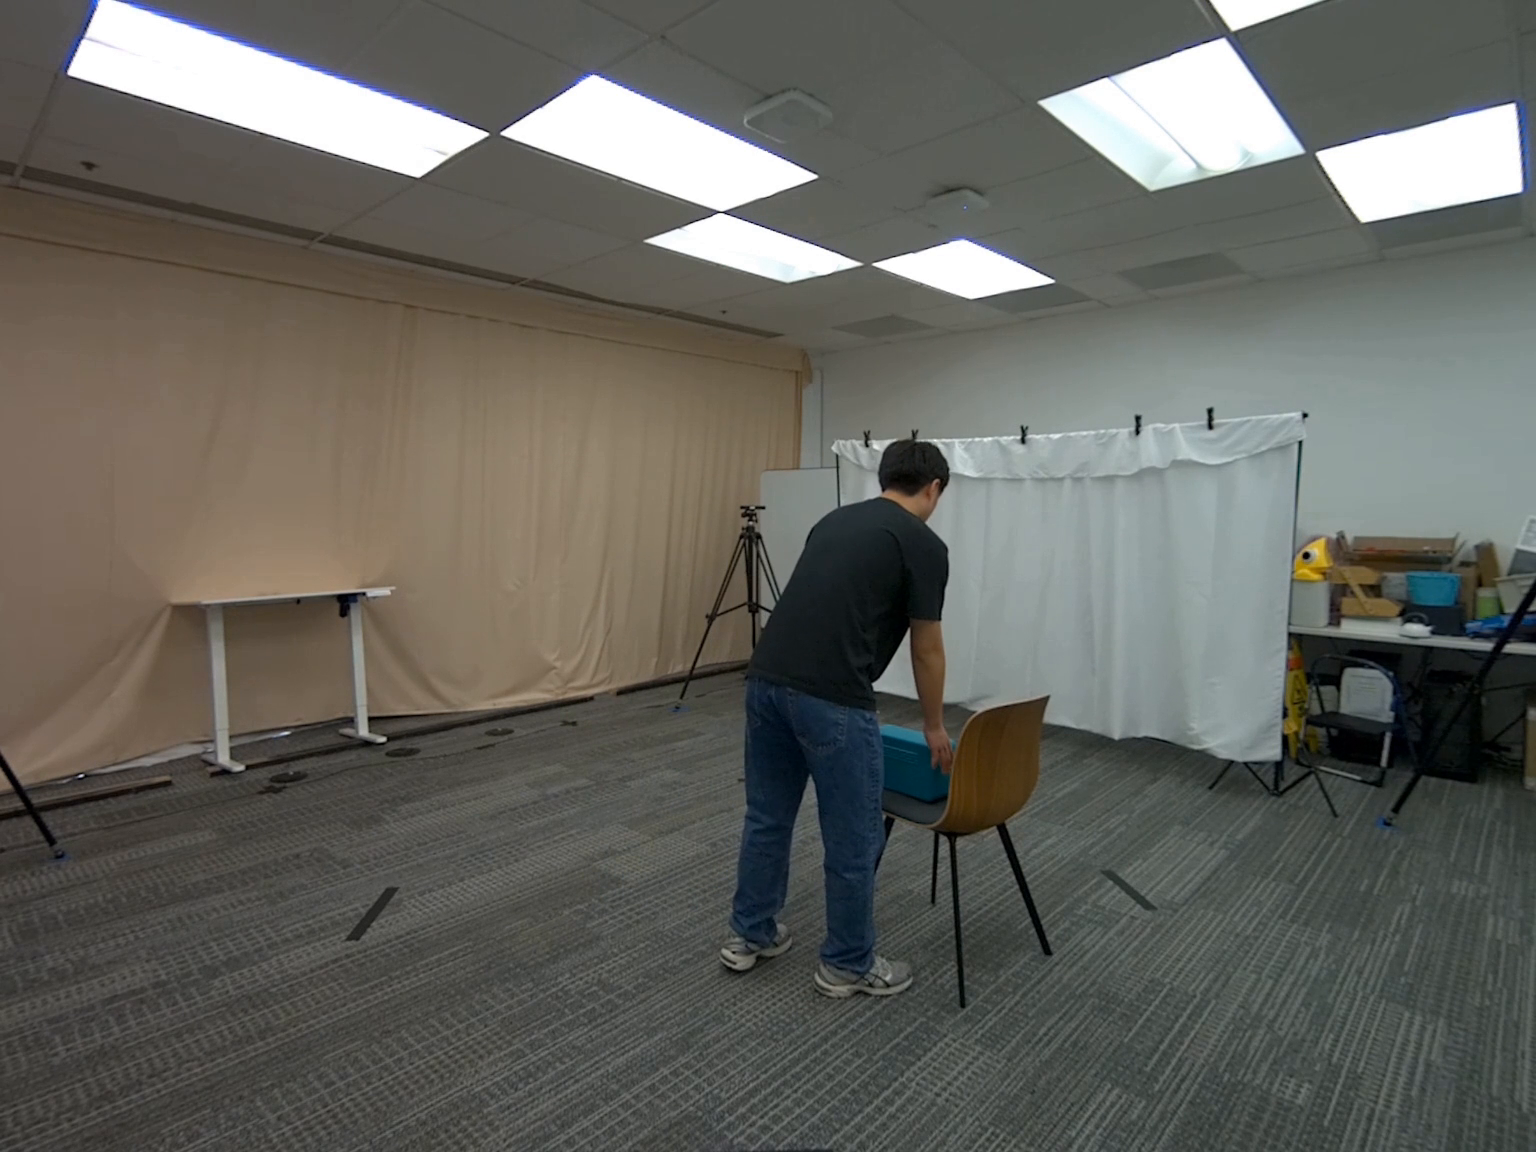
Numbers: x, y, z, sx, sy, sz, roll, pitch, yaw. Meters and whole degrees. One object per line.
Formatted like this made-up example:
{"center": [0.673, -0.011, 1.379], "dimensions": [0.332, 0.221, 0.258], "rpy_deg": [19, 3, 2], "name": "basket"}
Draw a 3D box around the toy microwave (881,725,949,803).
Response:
{"center": [0.474, 0.598, 2.712], "dimensions": [0.148, 0.184, 0.295], "rpy_deg": [-2, 4, -39], "name": "toy microwave"}
